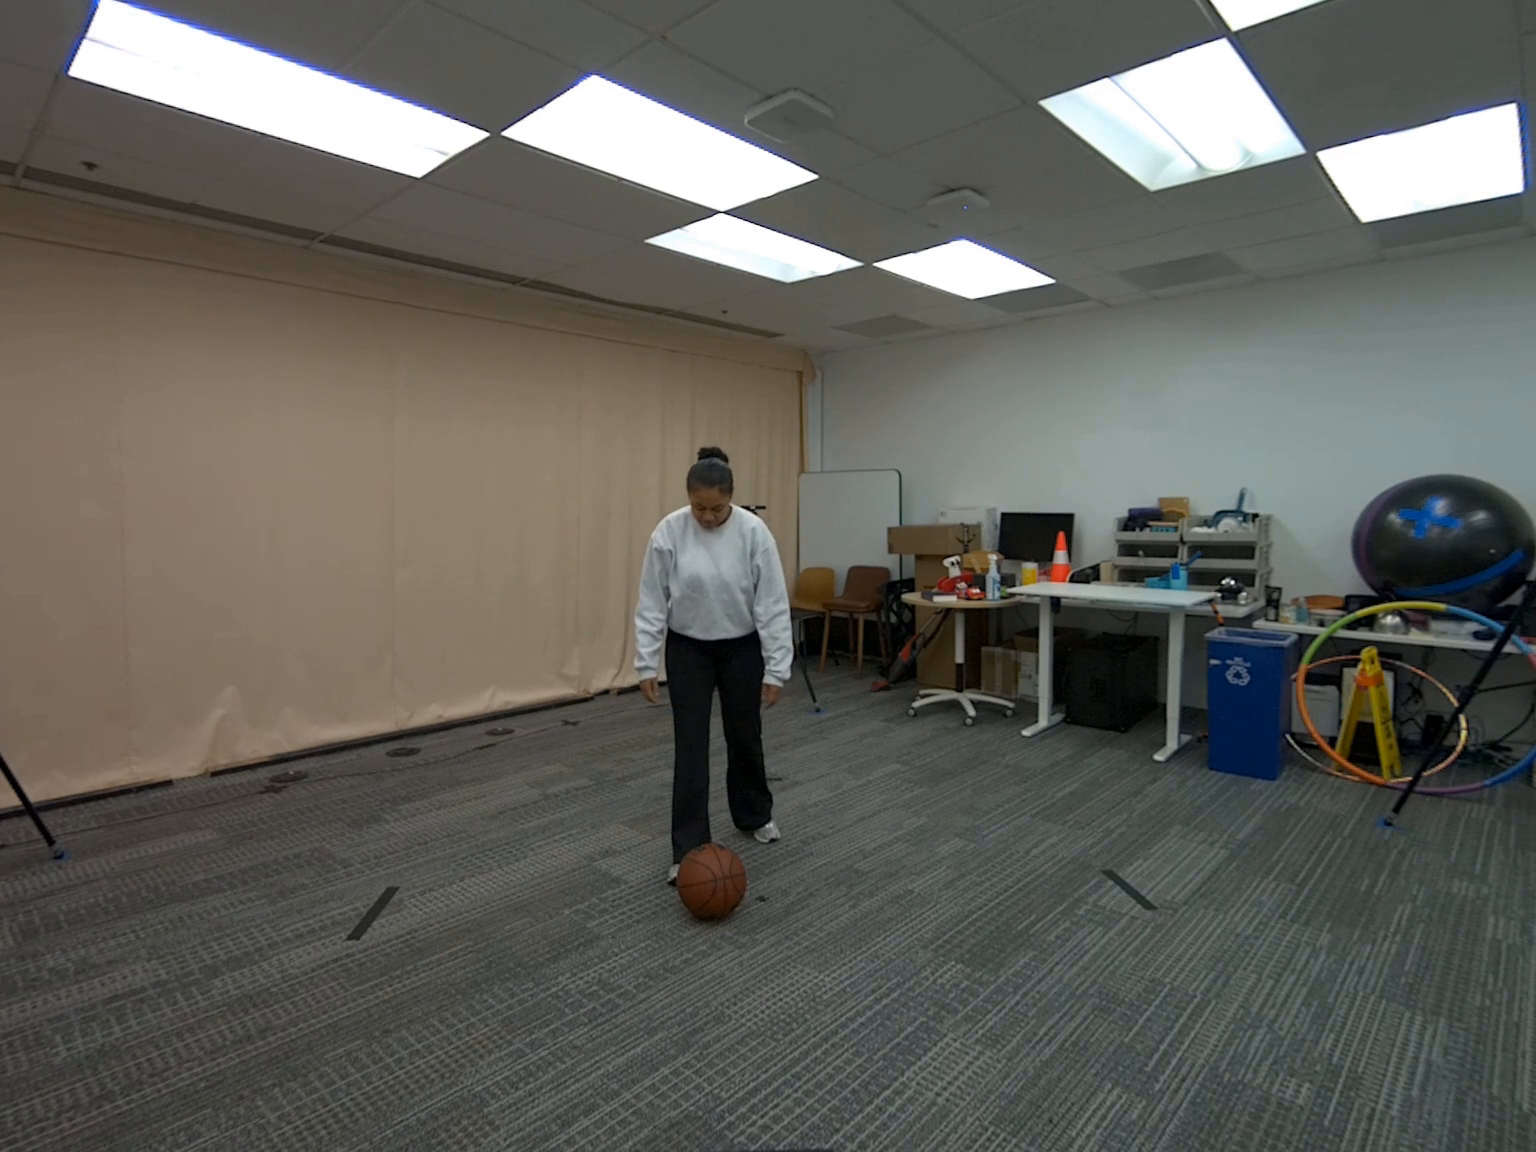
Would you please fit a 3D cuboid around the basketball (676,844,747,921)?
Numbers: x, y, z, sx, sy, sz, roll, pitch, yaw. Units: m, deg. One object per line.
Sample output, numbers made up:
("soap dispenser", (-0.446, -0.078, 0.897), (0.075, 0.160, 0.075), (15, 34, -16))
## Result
("basketball", (-0.195, 1.028, 2.859), (0.236, 0.235, 0.237), (0, 4, -2))
